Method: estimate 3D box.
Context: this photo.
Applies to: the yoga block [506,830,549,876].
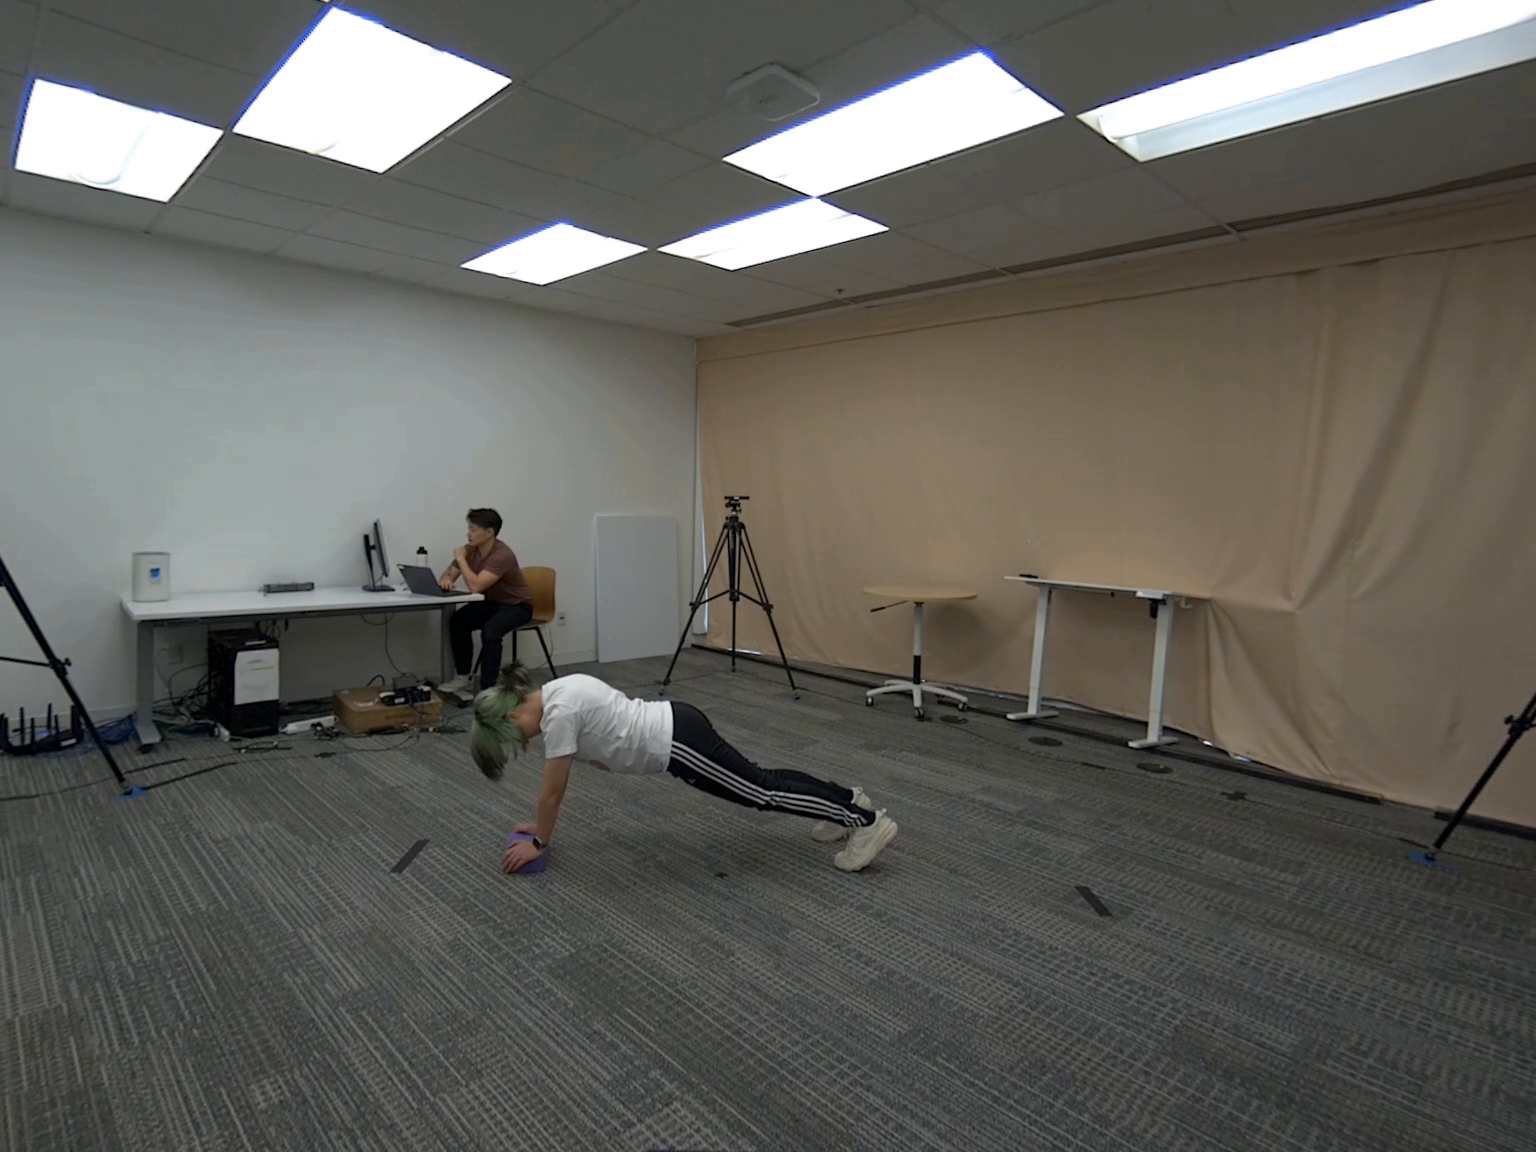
[{"bbox_3d":[-0.914,1.040,3.197,0.148,0.076,0.232,1,7,-9],"label":"yoga block"}]
